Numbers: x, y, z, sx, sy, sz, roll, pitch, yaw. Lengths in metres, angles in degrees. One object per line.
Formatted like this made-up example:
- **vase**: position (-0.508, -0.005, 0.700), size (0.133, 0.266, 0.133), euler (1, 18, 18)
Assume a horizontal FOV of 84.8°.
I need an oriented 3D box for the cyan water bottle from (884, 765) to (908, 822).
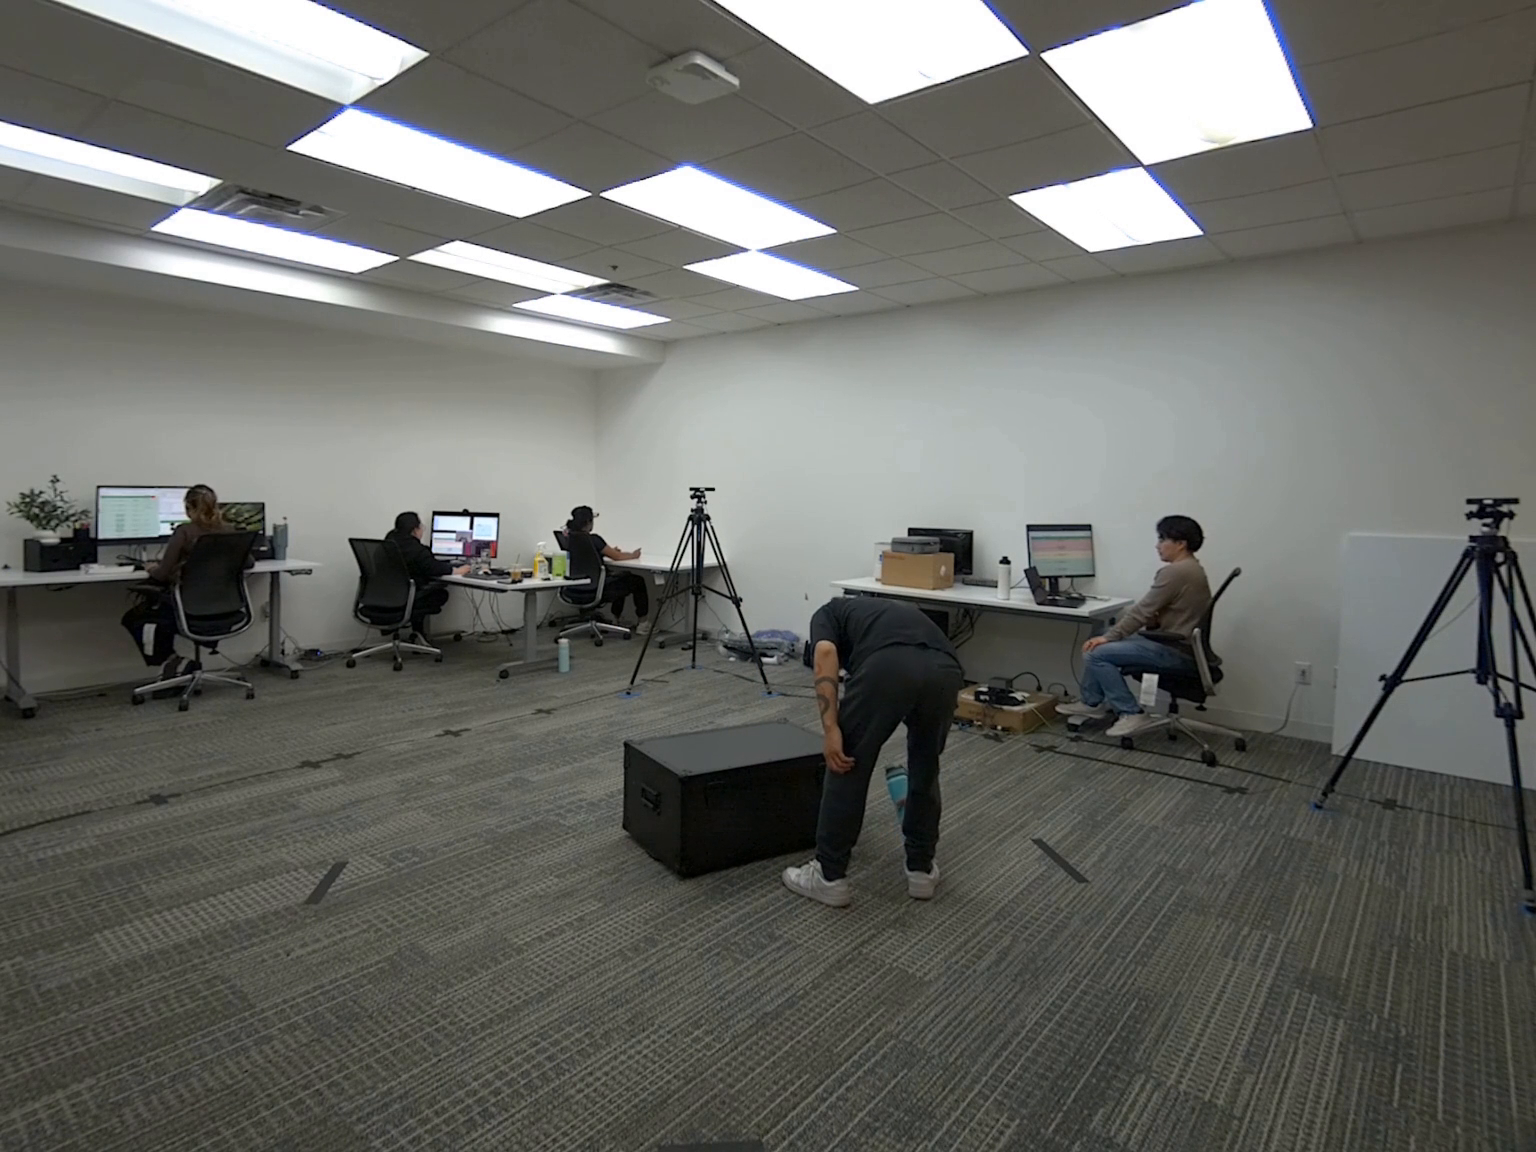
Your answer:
- **cyan water bottle**: position (0.516, 0.861, 3.273), size (0.092, 0.292, 0.090), euler (-10, -27, -7)
